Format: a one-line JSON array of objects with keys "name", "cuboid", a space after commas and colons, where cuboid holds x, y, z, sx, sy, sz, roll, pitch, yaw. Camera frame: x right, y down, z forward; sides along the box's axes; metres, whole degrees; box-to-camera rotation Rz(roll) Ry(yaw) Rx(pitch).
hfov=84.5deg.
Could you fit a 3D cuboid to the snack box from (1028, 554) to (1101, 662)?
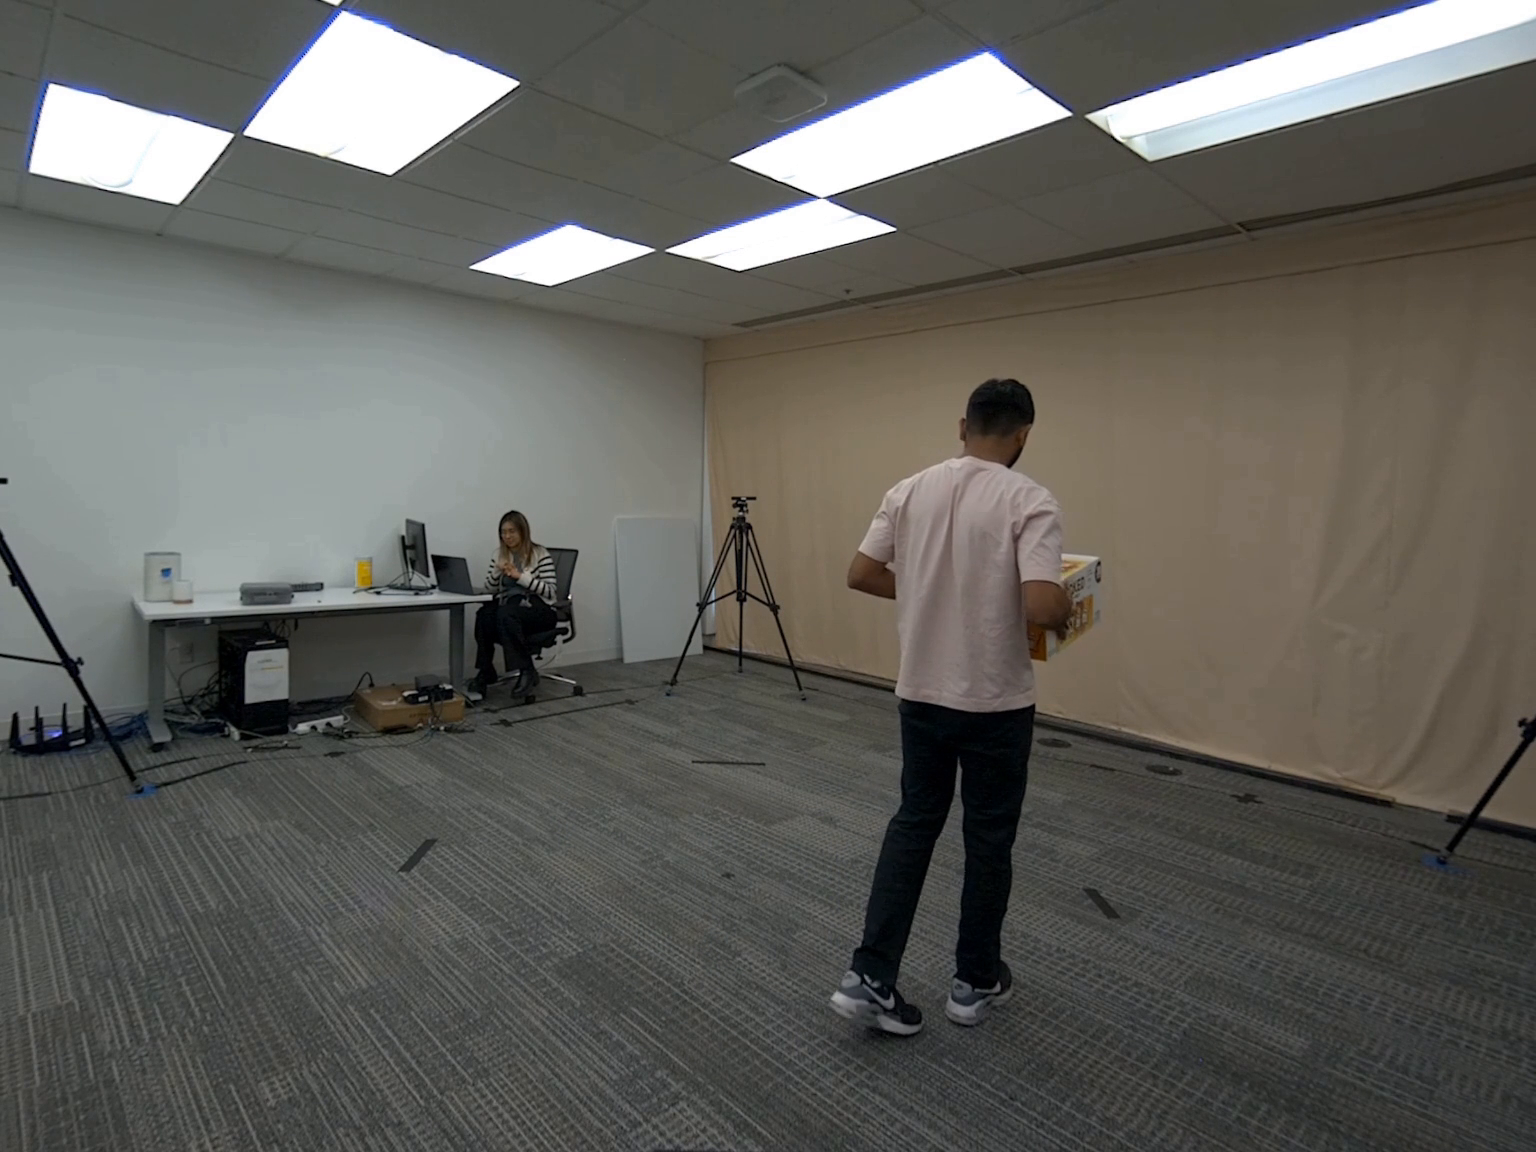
[{"name": "snack box", "cuboid": [0.728, 0.074, 2.468, 0.349, 0.204, 0.398, 7, 17, 41]}]
